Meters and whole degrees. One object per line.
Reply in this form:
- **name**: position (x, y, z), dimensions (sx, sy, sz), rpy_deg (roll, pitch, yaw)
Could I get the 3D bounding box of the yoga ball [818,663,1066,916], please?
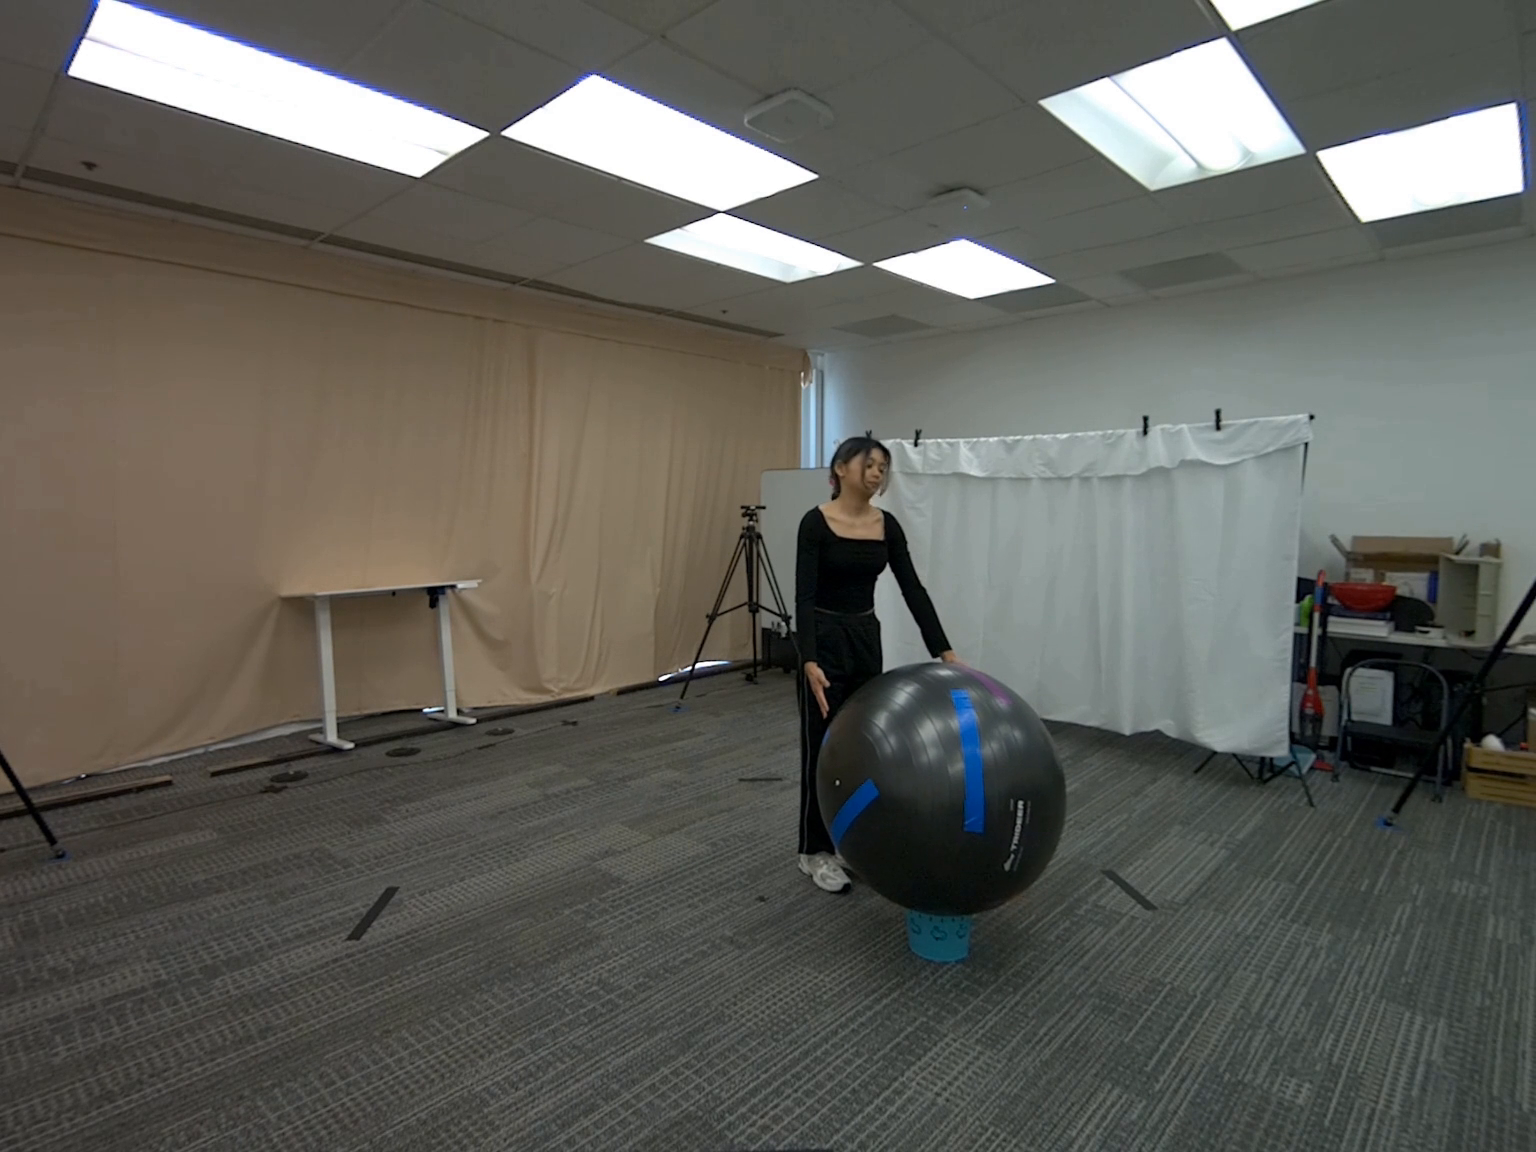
- **yoga ball**: position (0.543, 0.659, 2.639), dimensions (0.757, 0.756, 0.760), rpy_deg (0, 4, -2)
